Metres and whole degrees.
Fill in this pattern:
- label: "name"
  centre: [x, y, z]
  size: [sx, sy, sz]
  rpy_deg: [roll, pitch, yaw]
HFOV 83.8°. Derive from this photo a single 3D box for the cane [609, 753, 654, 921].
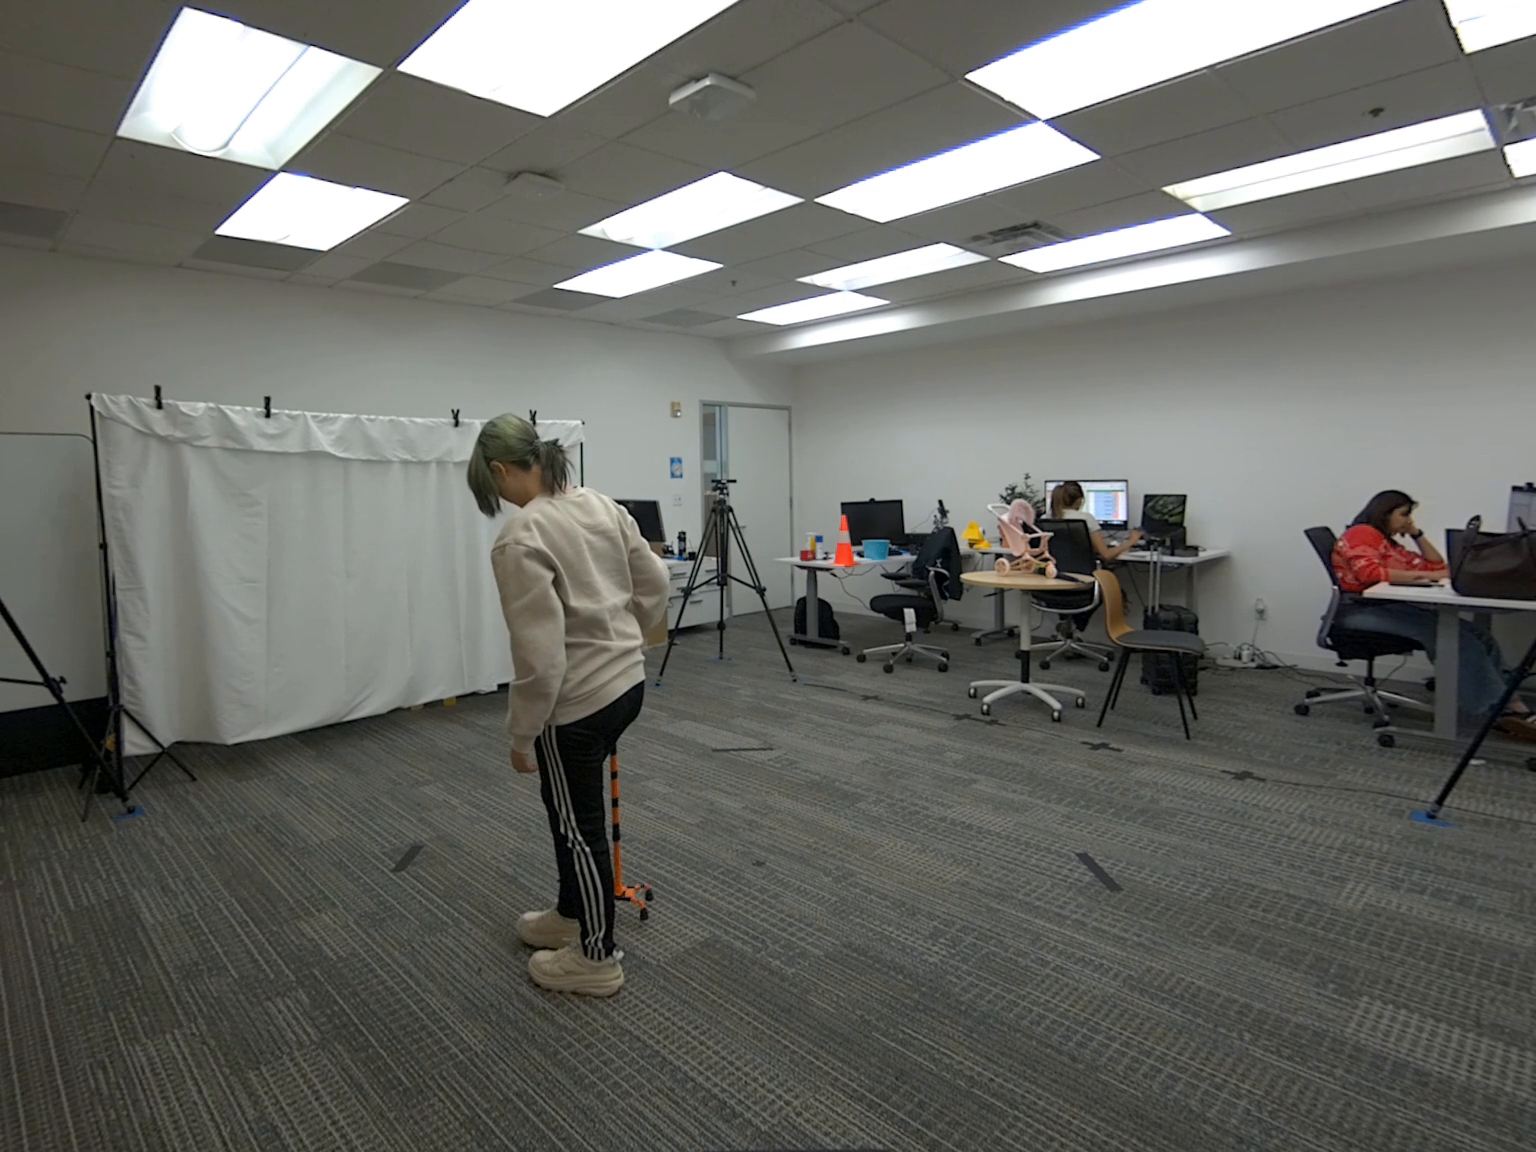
- label: "cane"
  centre: [-0.492, 0.631, 2.740]
  size: [0.206, 0.906, 0.152]
  rpy_deg: [-3, 2, -3]
